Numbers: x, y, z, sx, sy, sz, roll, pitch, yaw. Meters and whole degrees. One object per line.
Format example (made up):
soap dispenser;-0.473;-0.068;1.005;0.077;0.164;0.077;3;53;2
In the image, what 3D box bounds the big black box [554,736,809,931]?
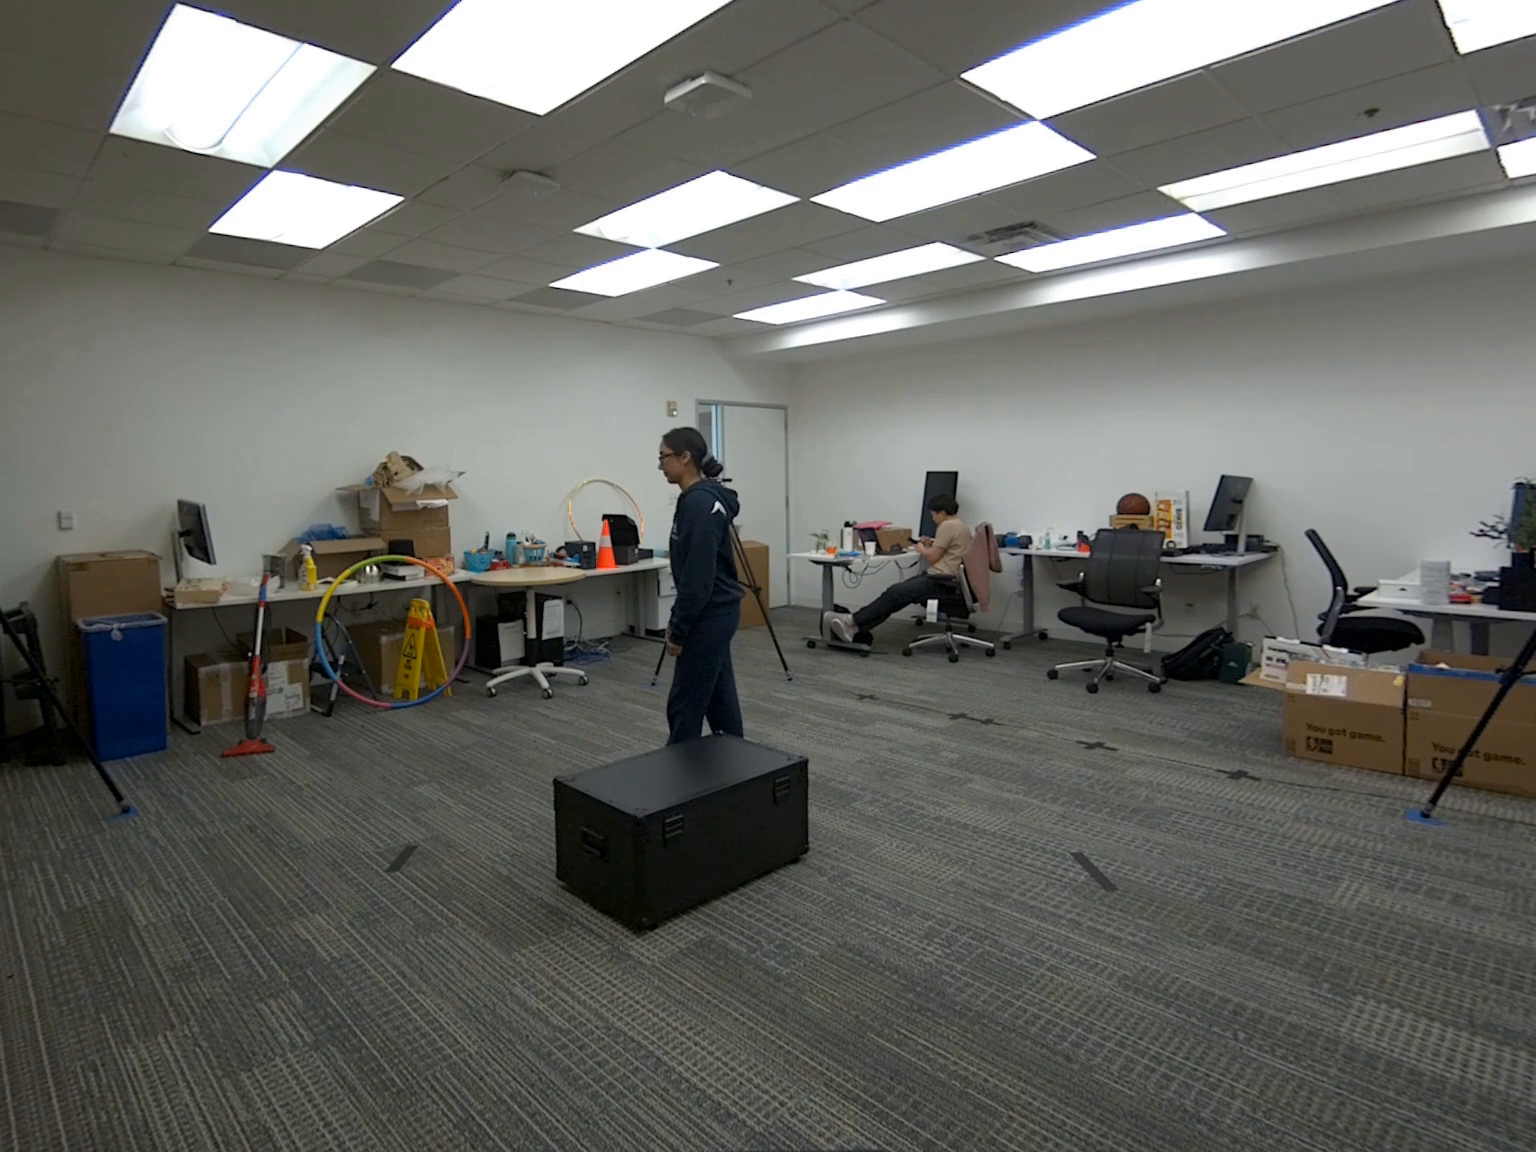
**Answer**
big black box;-0.269;0.863;3.057;0.839;0.394;0.537;-7;8;-44
